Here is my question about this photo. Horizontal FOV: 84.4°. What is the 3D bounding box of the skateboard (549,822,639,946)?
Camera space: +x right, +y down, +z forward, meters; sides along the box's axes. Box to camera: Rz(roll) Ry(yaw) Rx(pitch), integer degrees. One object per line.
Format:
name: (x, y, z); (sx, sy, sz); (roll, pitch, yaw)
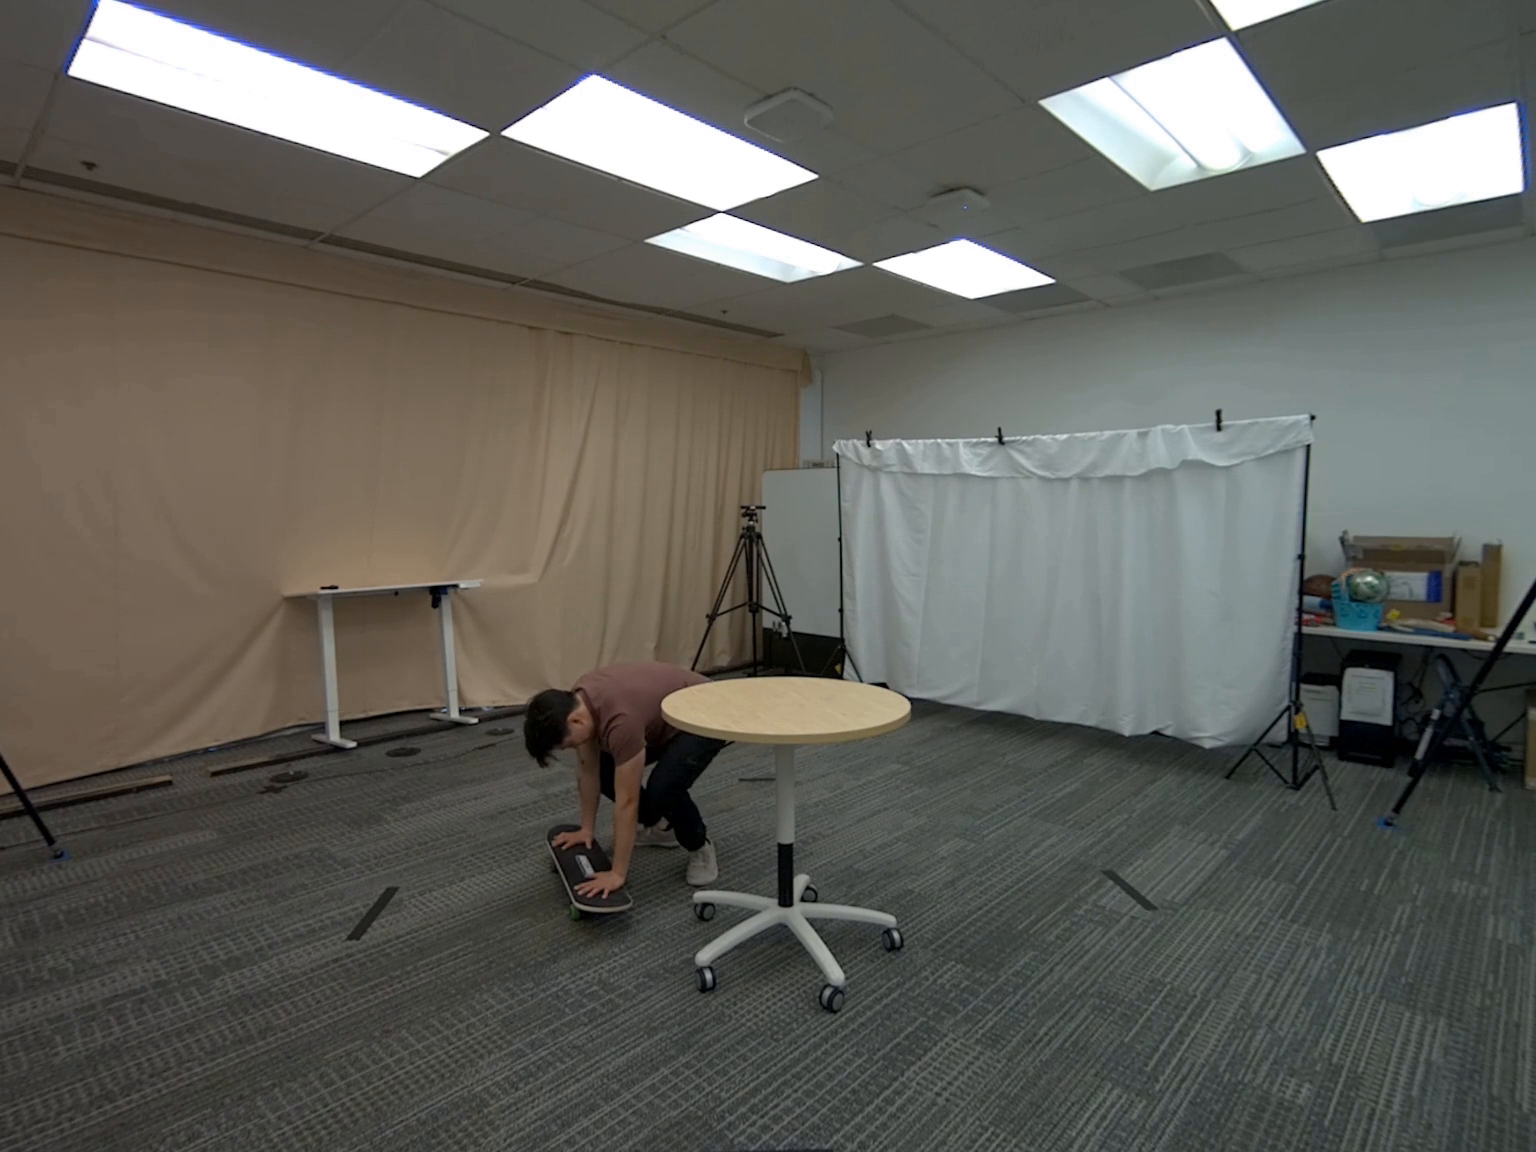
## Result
skateboard: (-0.650, 1.085, 3.065); (0.189, 0.110, 0.802); (1, 3, -20)
